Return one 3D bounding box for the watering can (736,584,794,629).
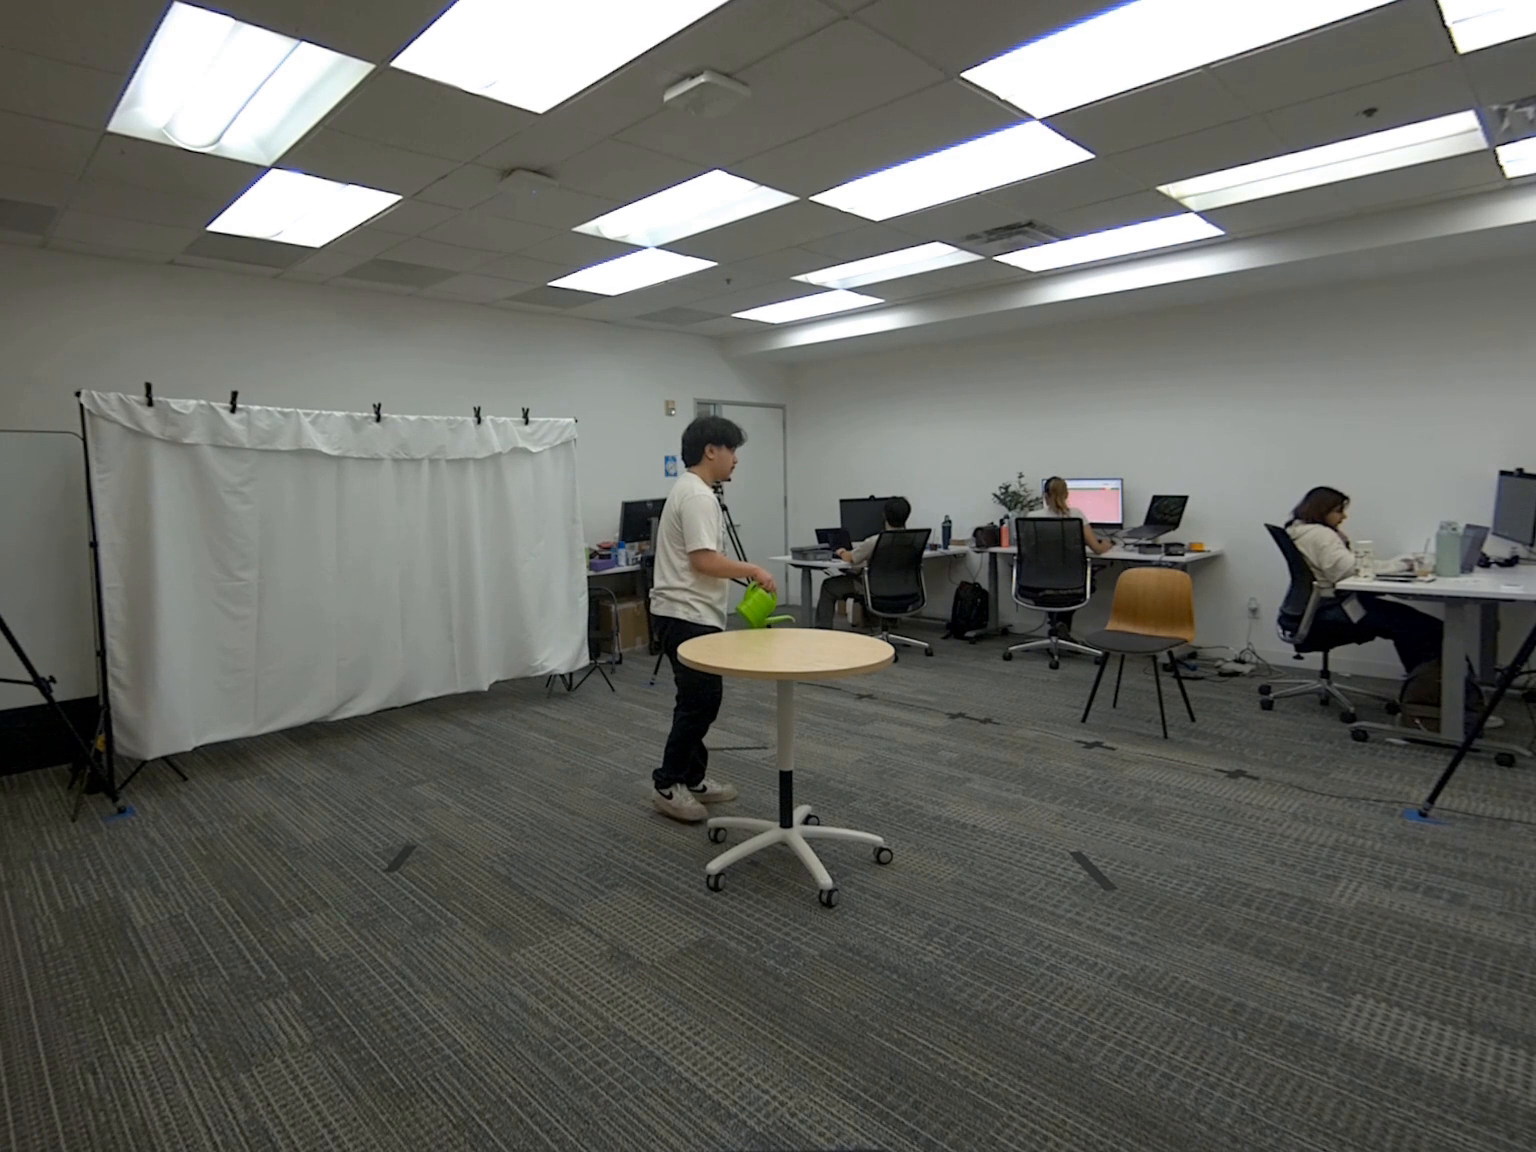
[{"bbox_3d":[-0.013,0.149,3.547,0.176,0.274,0.099,-44,10,-13],"label":"watering can"}]
